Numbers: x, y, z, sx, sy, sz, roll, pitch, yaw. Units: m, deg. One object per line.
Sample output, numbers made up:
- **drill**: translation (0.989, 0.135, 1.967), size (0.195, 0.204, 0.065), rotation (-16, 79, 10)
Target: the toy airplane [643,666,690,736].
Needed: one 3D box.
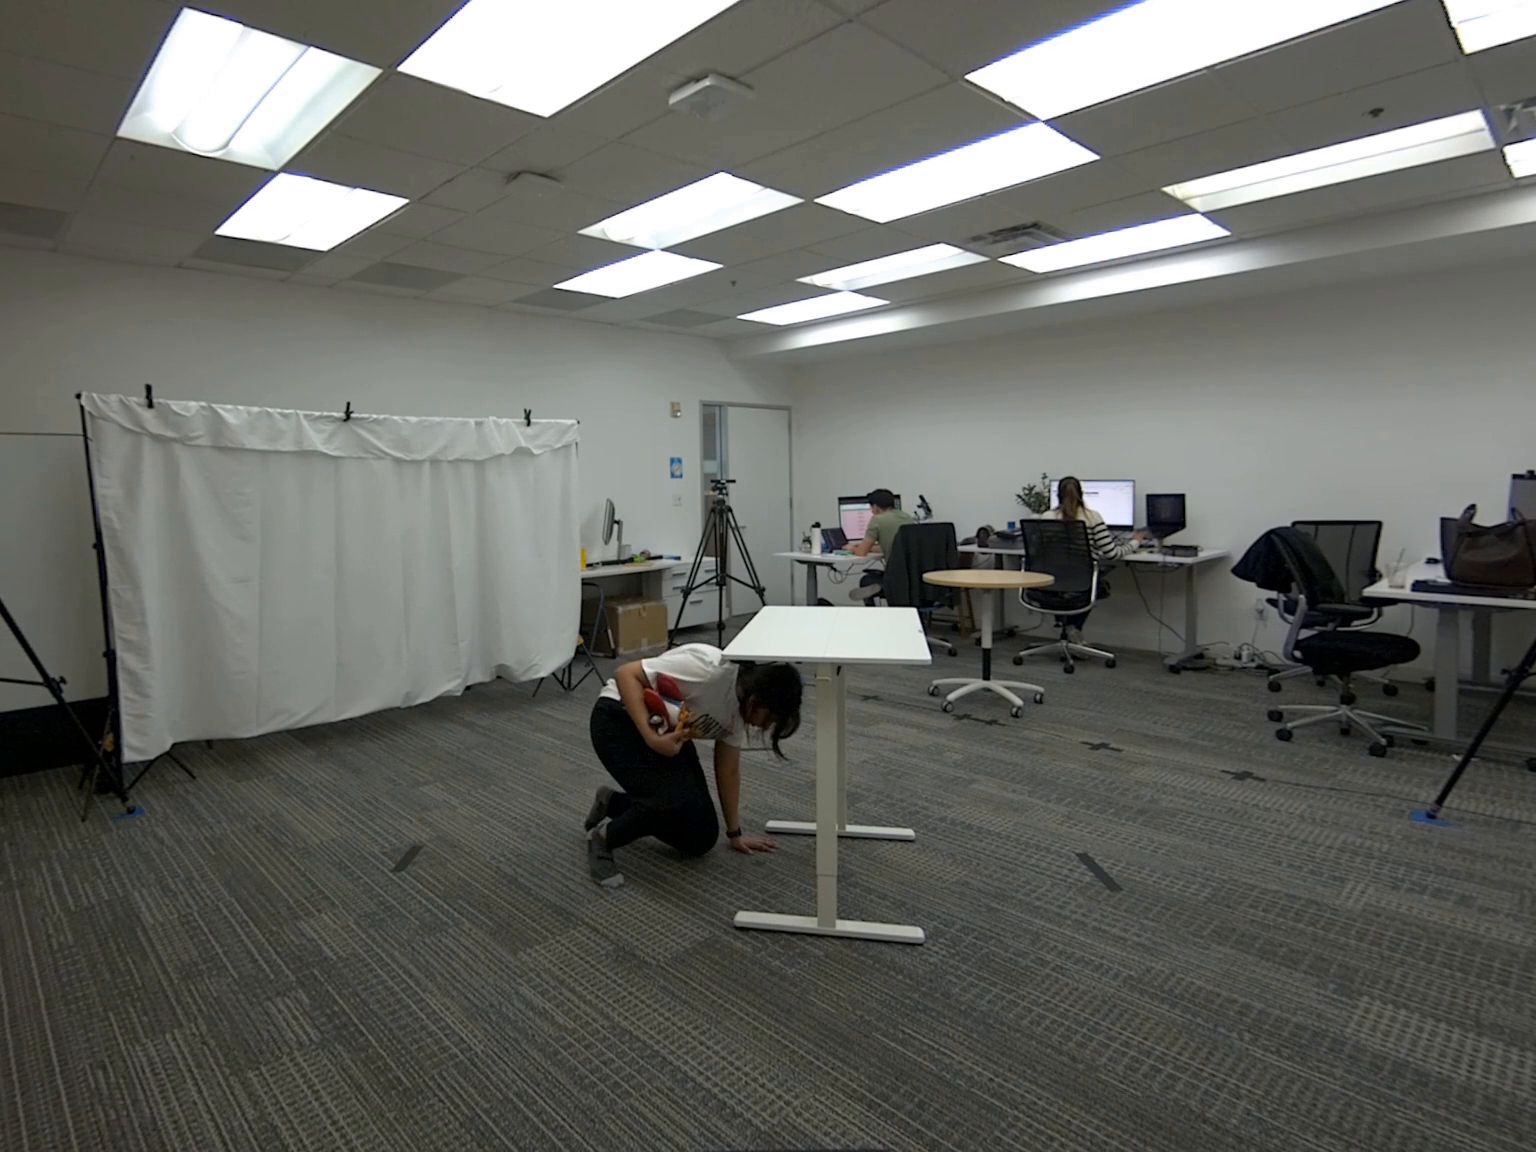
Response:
- **toy airplane**: translation (-0.393, 0.442, 2.935), size (0.155, 0.266, 0.246), rotation (-35, -21, -25)
